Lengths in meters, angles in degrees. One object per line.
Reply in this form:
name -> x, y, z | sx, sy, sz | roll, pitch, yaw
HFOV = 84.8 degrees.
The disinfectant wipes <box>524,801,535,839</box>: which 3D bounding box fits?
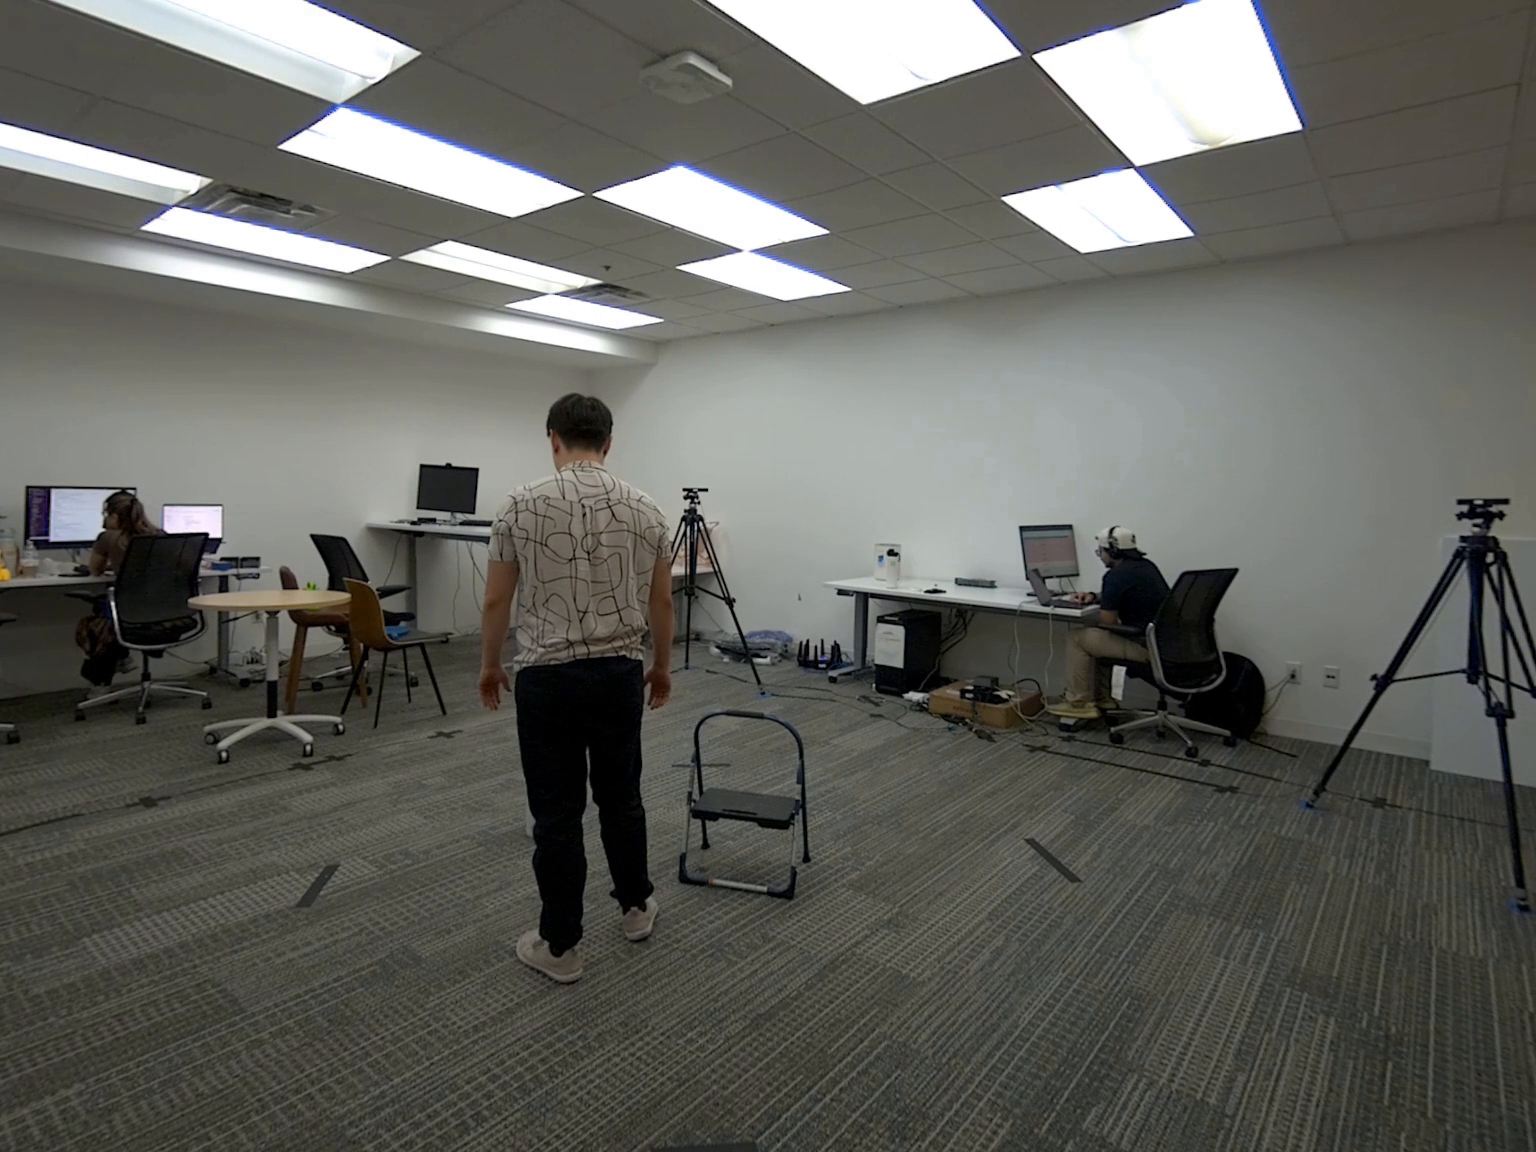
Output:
disinfectant wipes -> -0.924, 0.913, 3.398 | 0.118, 0.217, 0.118 | 0, 3, -2
